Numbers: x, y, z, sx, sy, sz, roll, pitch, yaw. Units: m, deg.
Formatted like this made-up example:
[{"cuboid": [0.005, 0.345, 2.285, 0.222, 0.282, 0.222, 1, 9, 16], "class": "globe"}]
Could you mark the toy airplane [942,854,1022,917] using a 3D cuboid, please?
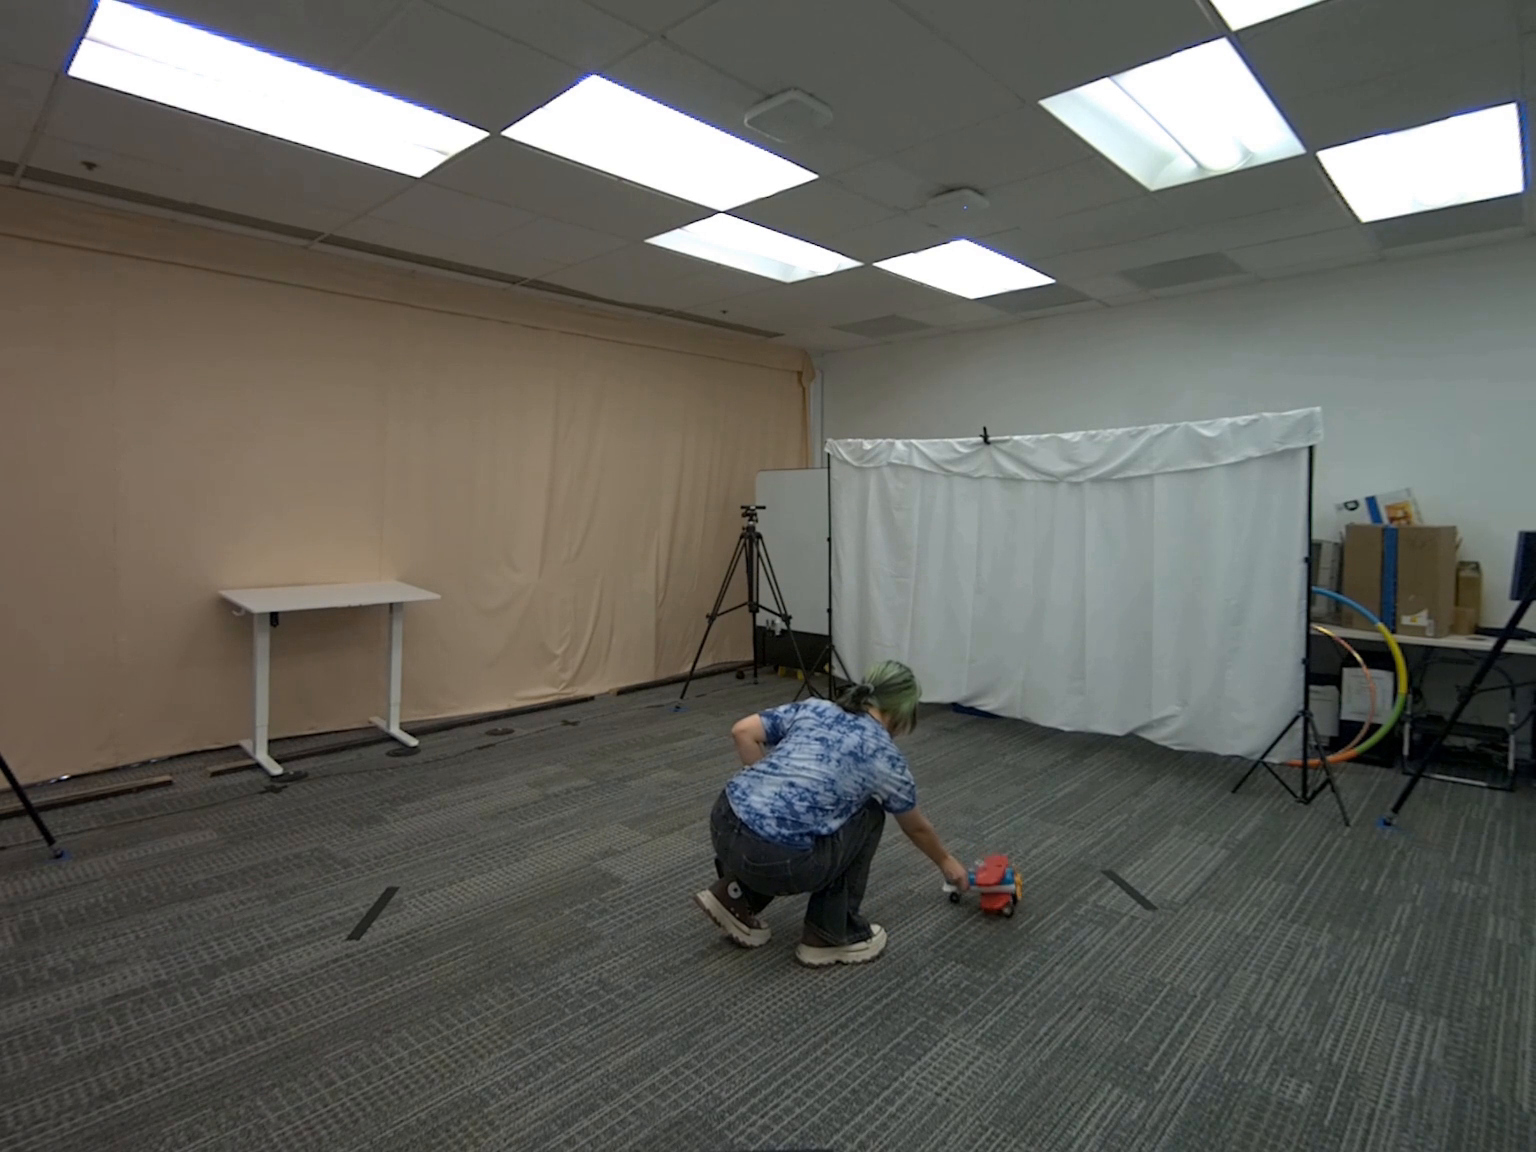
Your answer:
[{"cuboid": [0.744, 1.078, 2.895, 0.259, 0.156, 0.252, 1, 6, -3], "class": "toy airplane"}]
